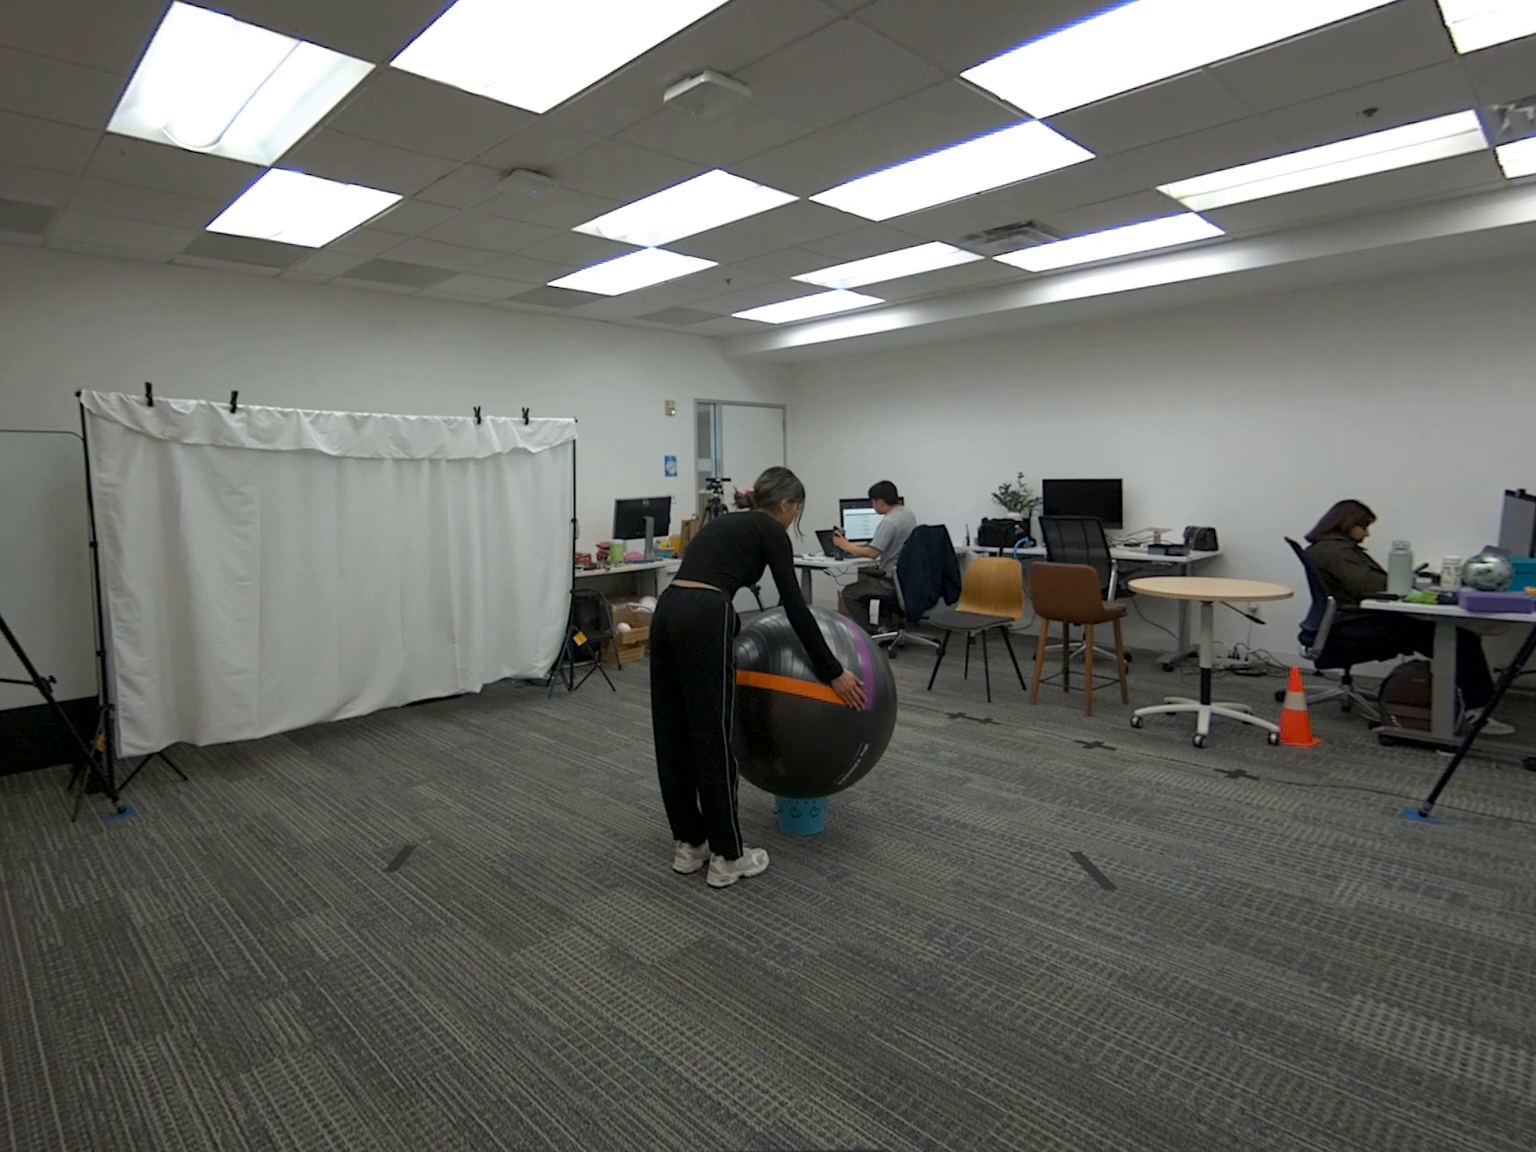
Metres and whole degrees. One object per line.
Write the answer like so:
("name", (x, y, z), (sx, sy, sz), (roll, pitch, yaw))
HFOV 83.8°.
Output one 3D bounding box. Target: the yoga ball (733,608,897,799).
("yoga ball", (0.130, 0.493, 3.414), (0.757, 0.755, 0.762), (-1, 5, -2))
